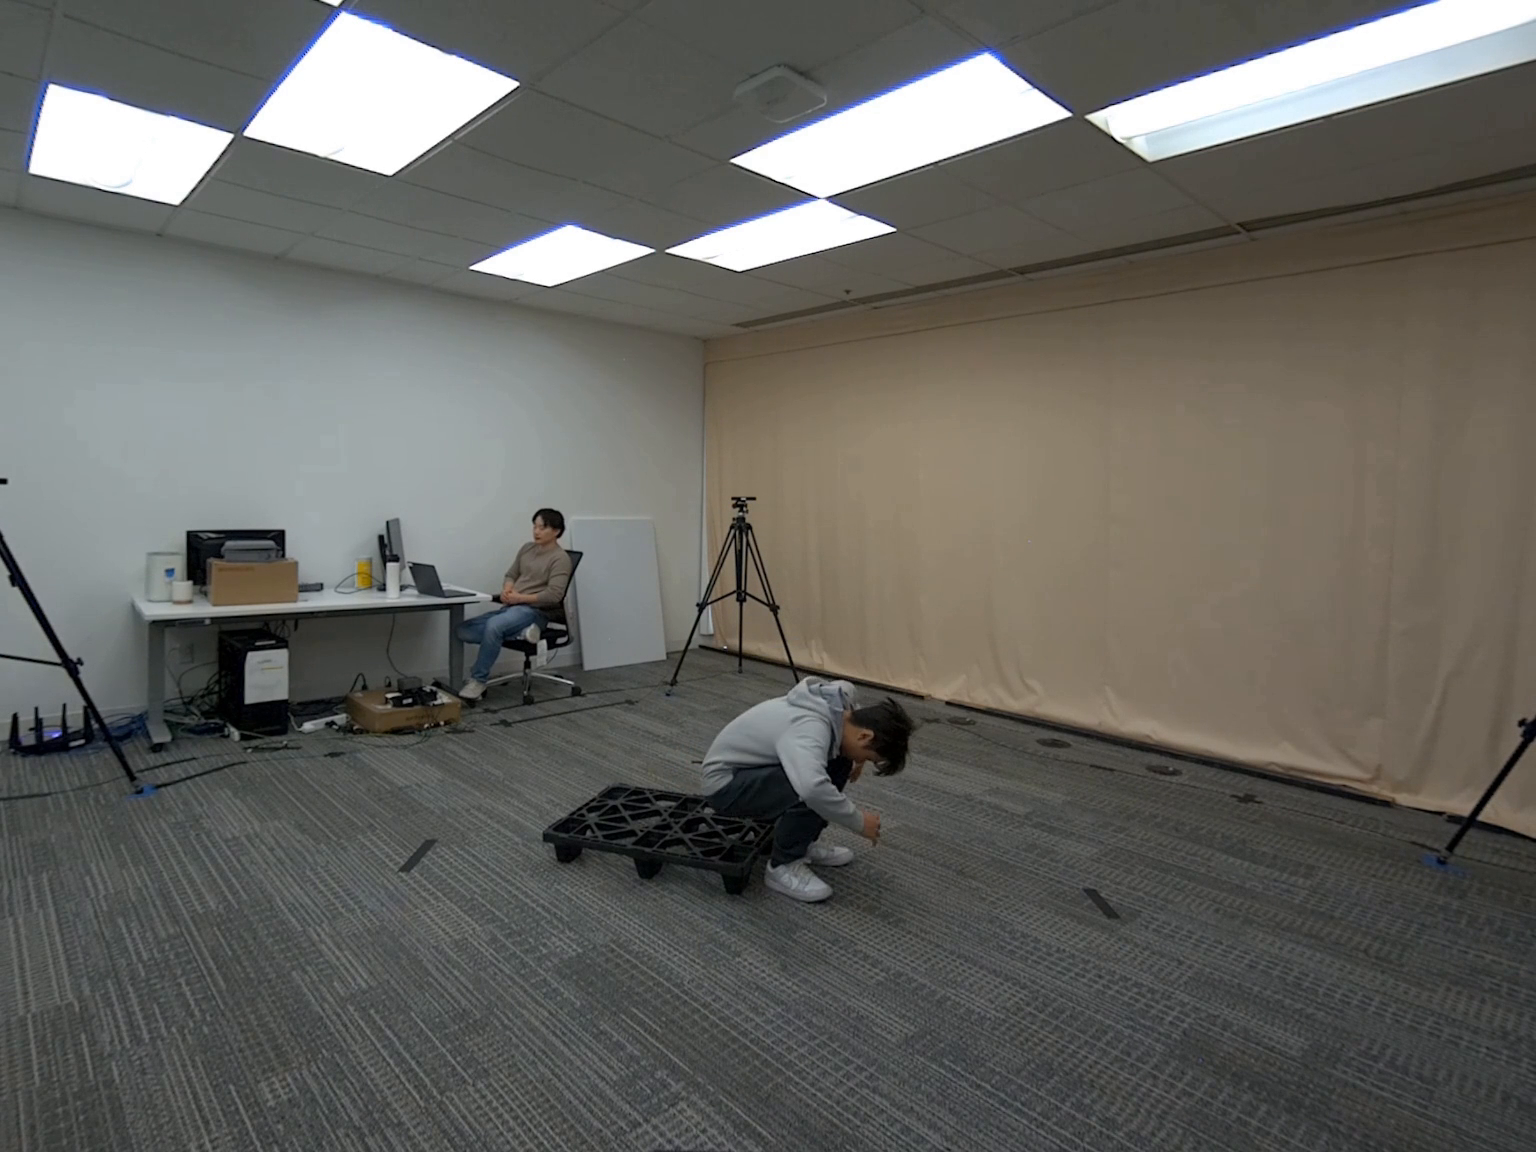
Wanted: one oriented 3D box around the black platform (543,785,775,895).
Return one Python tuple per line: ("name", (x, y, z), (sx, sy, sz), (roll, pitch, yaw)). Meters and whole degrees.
("black platform", (-0.379, 1.016, 3.284), (0.817, 0.143, 0.598), (3, 6, 18))
